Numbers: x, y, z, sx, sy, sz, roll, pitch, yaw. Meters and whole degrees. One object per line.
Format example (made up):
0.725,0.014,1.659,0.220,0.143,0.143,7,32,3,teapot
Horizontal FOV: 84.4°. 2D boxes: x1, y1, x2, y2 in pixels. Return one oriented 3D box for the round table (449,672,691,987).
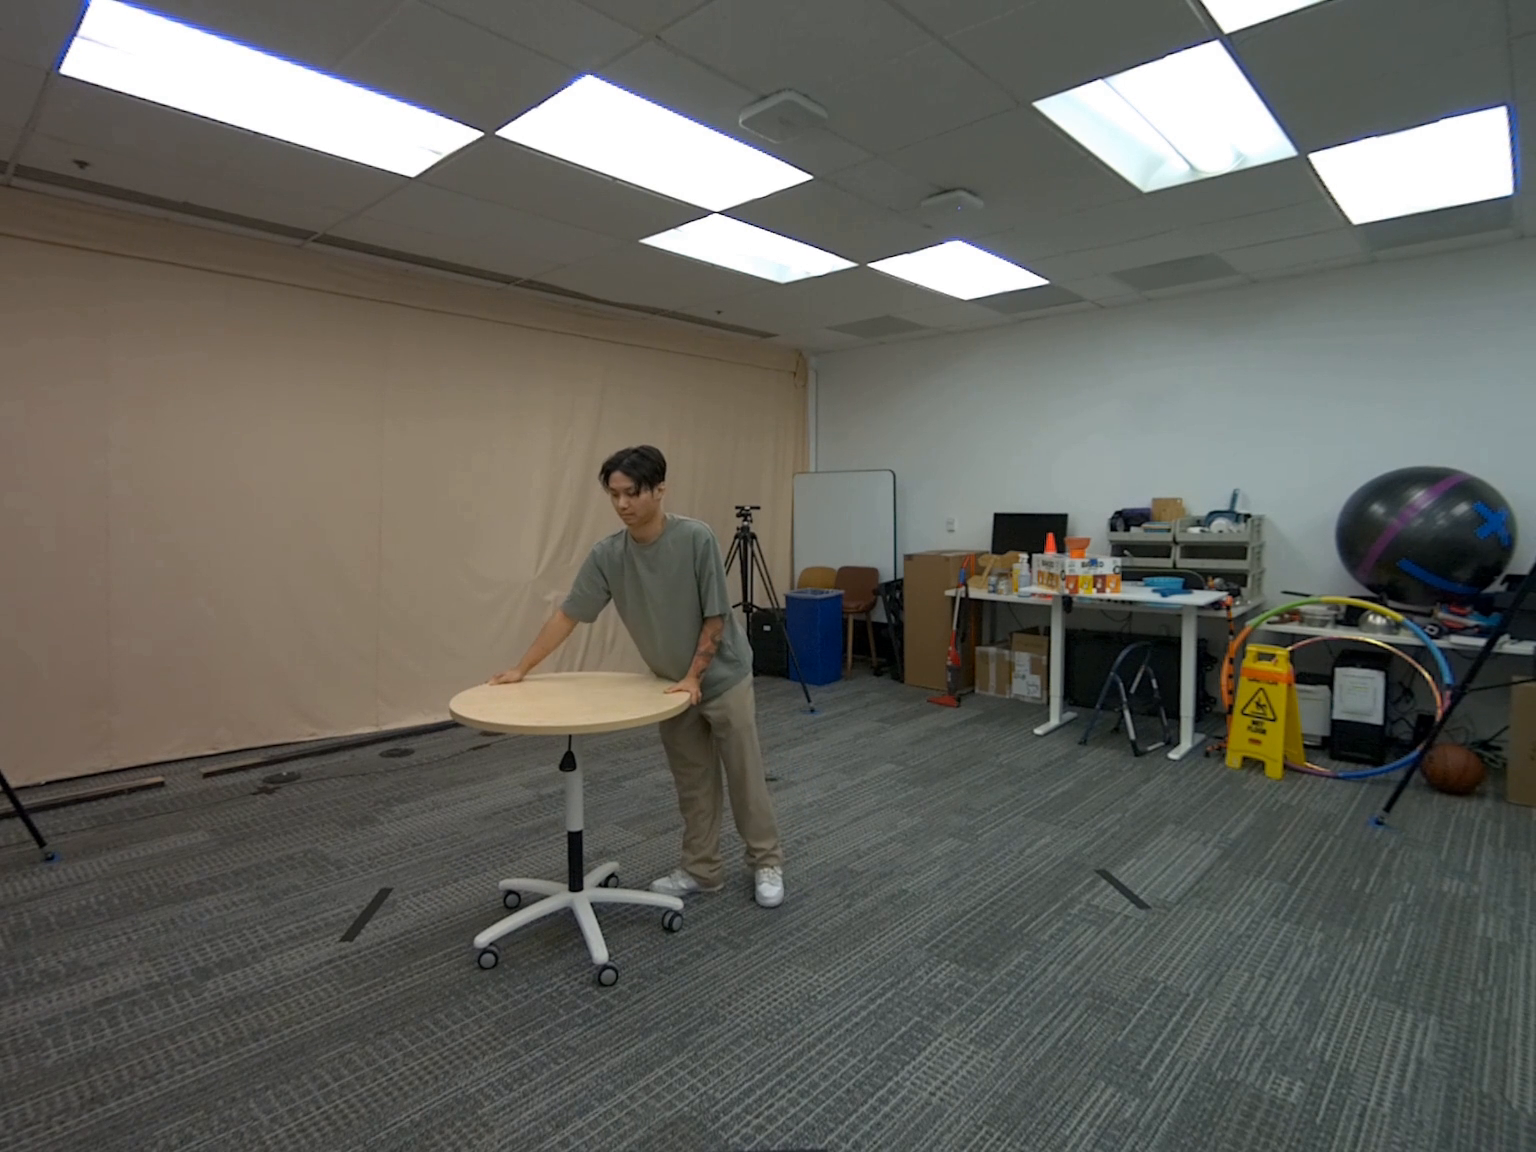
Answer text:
-0.640,0.775,2.753,0.784,0.785,0.788,0,4,-2,round table
